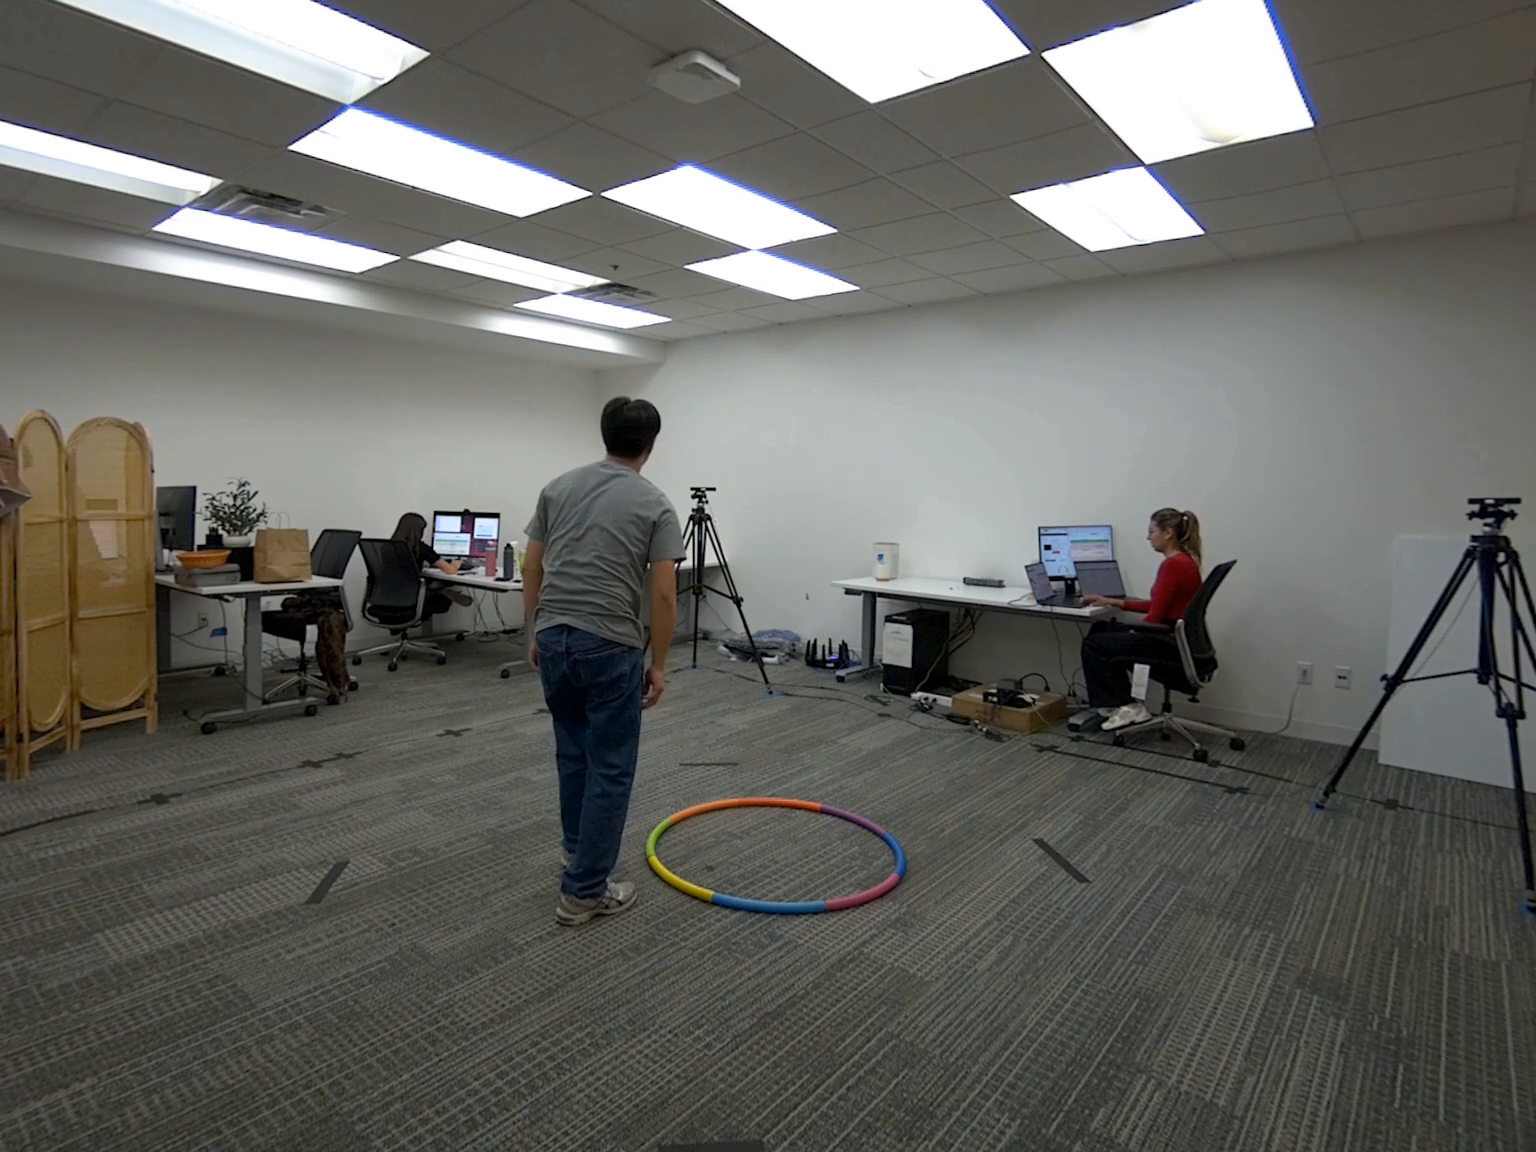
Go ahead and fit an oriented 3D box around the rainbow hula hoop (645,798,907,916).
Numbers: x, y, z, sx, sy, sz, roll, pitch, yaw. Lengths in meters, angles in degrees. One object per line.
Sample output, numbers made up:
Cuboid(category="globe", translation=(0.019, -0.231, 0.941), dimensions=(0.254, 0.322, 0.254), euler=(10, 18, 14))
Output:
Cuboid(category="rainbow hula hoop", translation=(0.017, 1.027, 3.257), dimensions=(0.978, 0.035, 0.984), euler=(1, 6, -2))
